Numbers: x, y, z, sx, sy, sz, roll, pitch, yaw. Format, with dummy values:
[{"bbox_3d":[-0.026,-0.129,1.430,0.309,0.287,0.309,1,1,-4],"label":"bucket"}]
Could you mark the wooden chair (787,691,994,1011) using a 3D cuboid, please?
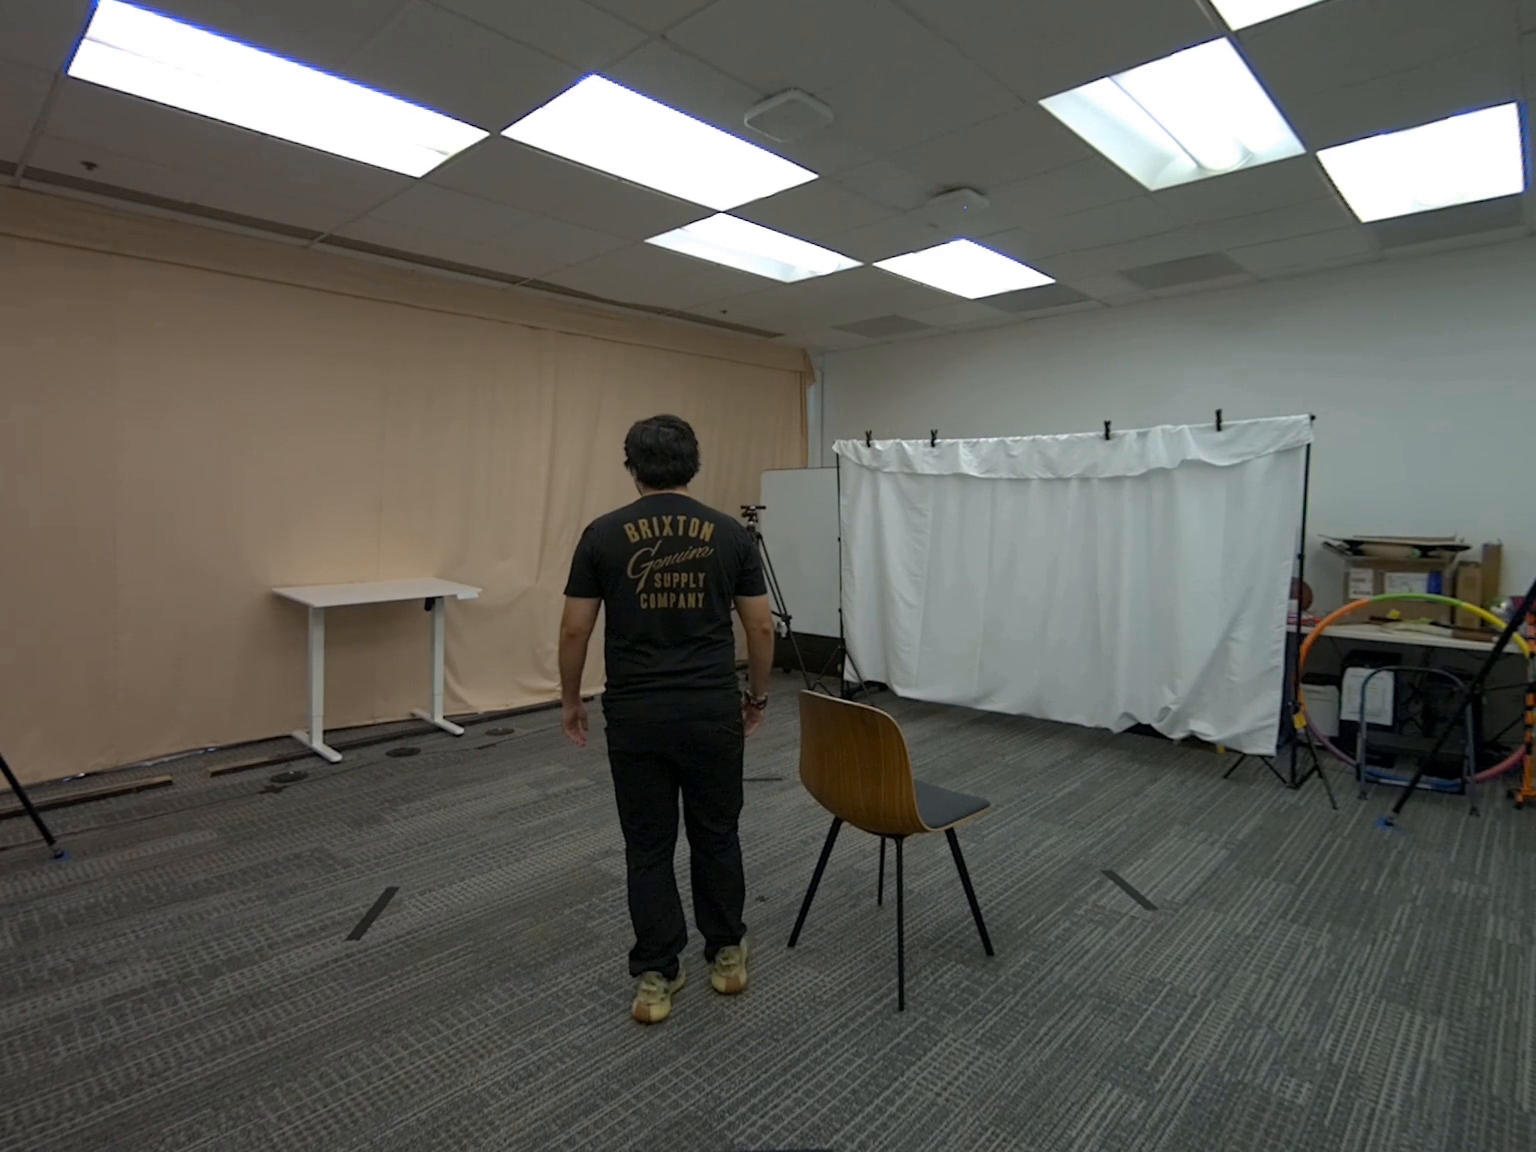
[{"bbox_3d":[0.388,0.746,2.608,0.508,0.874,0.494,-9,8,-42],"label":"wooden chair"}]
